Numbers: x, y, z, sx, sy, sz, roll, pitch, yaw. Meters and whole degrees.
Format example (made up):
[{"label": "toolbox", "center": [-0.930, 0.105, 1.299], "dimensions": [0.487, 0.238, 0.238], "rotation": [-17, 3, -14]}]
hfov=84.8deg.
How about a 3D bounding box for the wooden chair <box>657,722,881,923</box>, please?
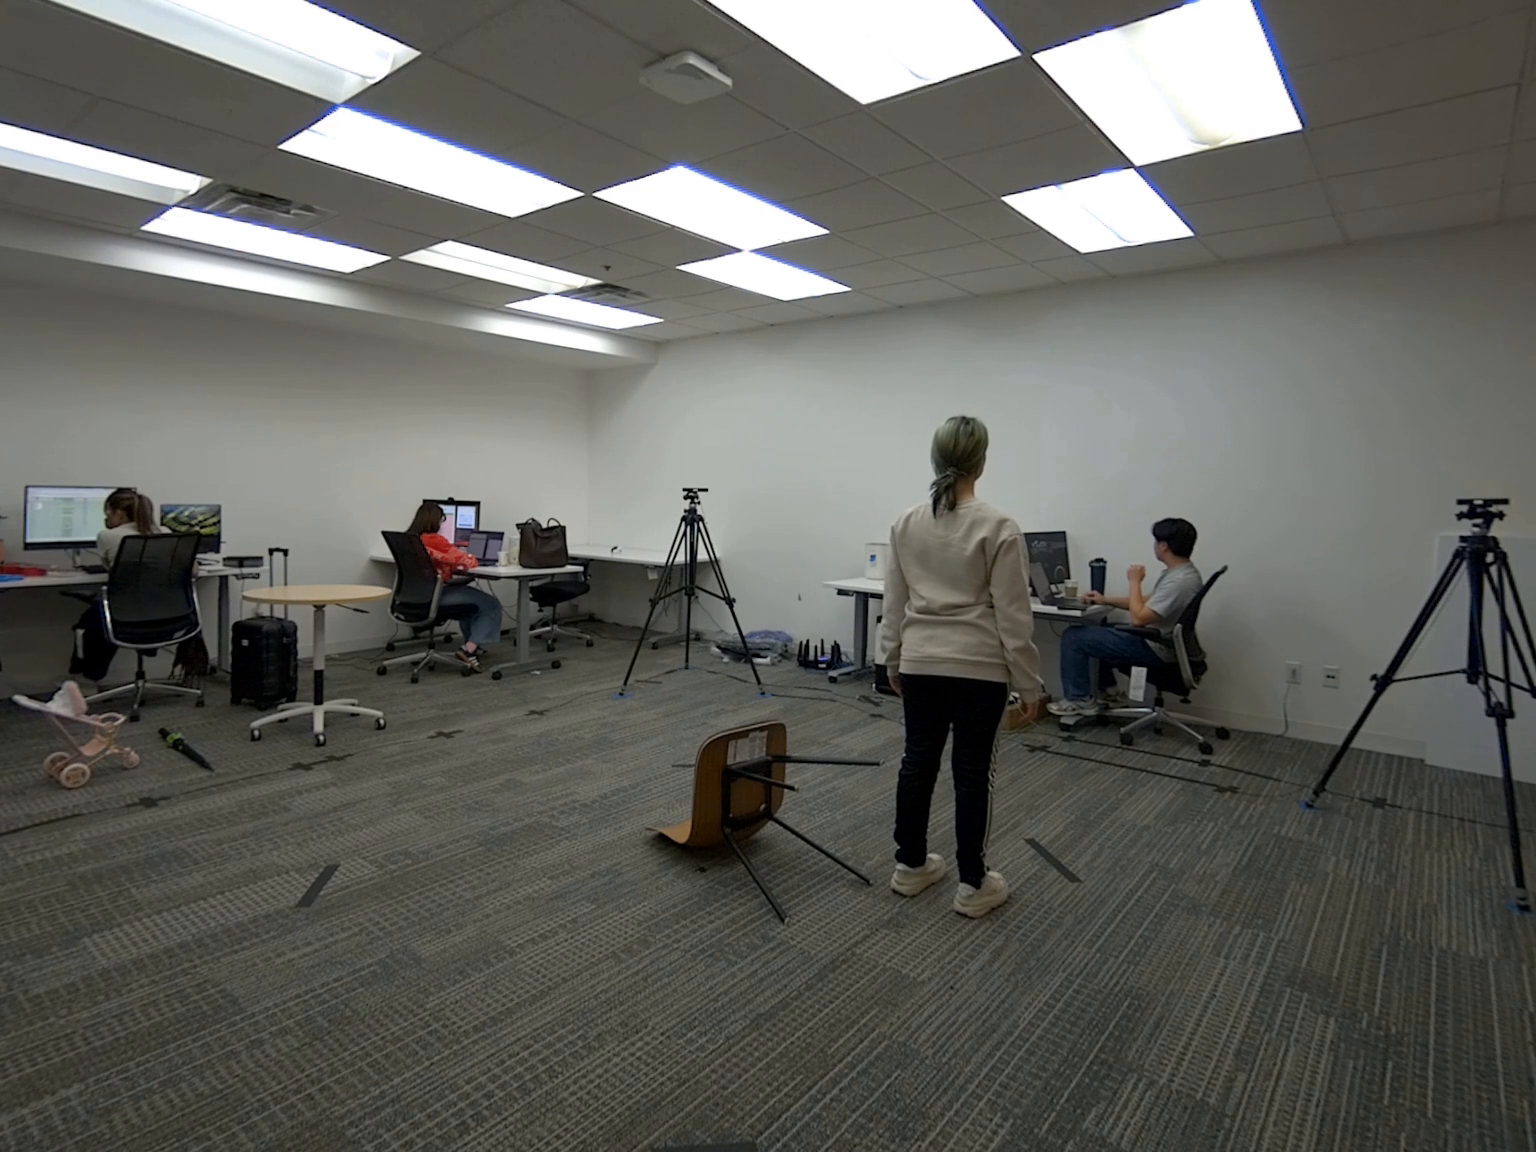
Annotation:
[{"label": "wooden chair", "center": [-0.080, 0.811, 3.165], "dimensions": [0.463, 0.522, 0.907], "rotation": [-2, 4, -43]}]
